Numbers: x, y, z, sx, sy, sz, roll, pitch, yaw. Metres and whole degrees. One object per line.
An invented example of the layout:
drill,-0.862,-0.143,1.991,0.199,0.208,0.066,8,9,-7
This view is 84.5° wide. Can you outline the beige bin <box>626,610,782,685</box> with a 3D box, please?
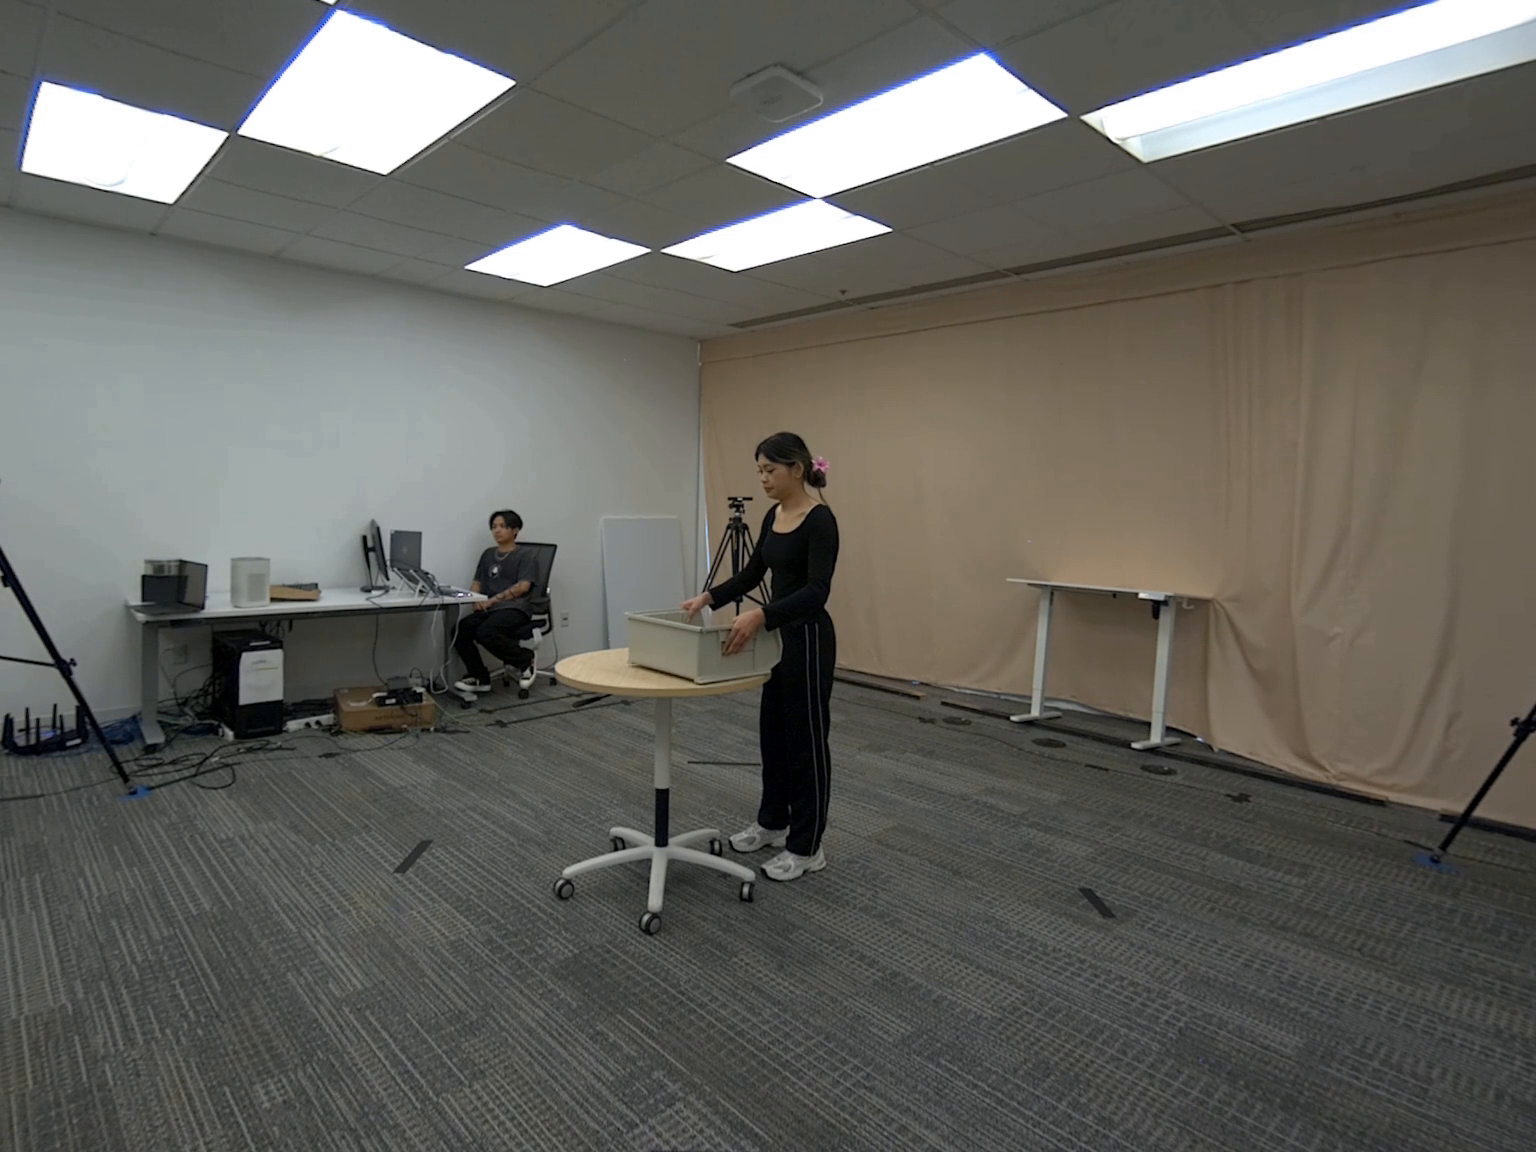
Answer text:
beige bin,-0.233,0.225,2.928,0.369,0.188,0.433,-6,10,-42
